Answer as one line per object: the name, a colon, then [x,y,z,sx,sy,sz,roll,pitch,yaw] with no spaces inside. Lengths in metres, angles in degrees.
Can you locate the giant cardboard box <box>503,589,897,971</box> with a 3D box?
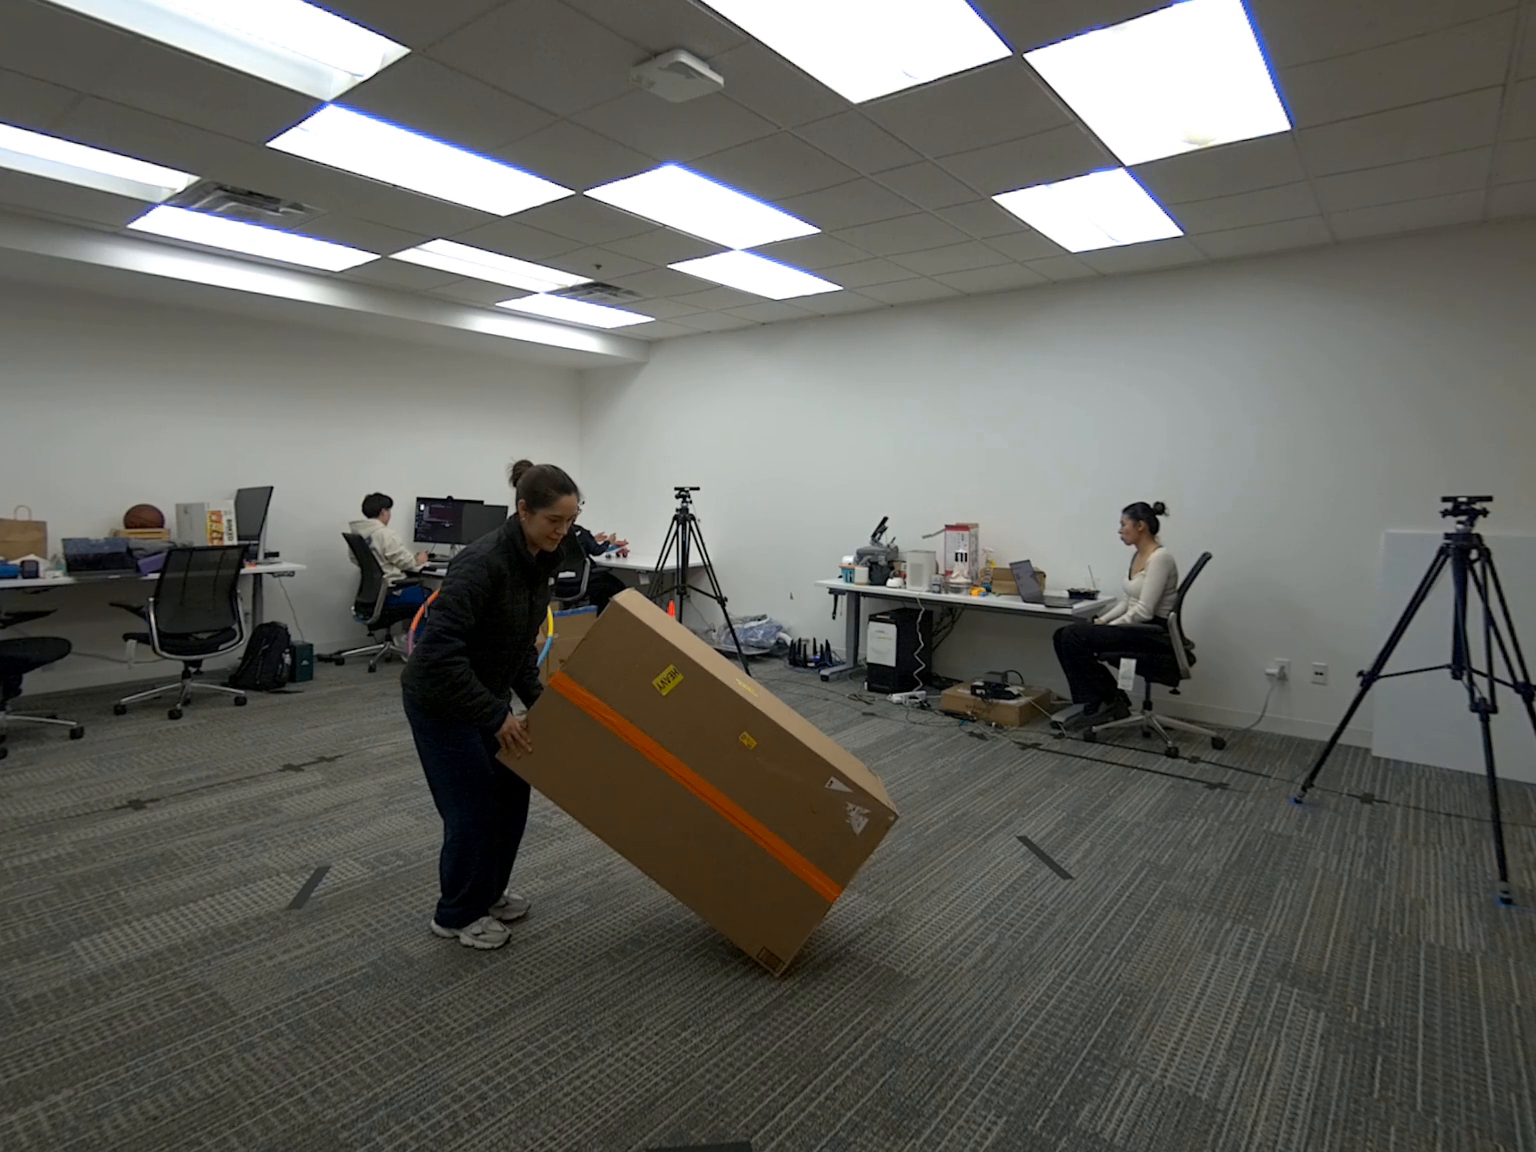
giant cardboard box: [-0.208,0.586,2.627,1.029,0.583,0.446,37,4,1]
